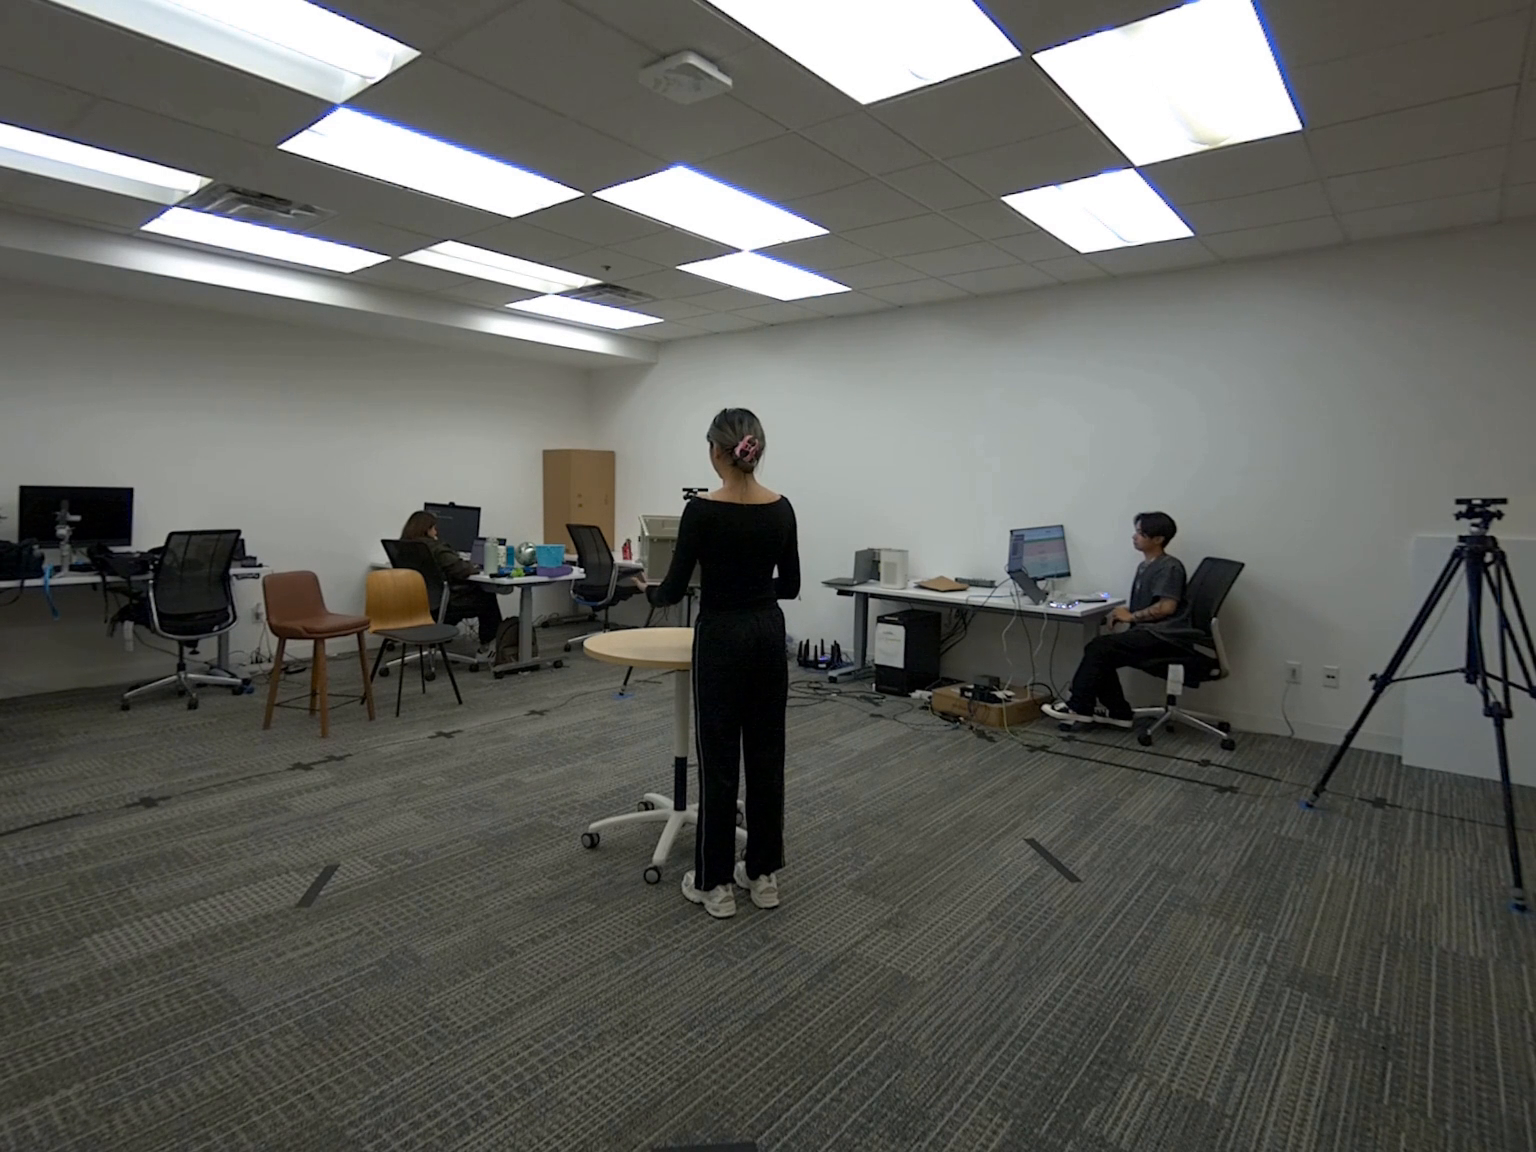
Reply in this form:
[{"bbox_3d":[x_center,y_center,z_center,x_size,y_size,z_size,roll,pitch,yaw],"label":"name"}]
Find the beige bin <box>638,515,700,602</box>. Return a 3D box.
[{"bbox_3d":[-0.282,-0.093,3.163,0.373,0.187,0.432,2,14,-11],"label":"beige bin"}]
